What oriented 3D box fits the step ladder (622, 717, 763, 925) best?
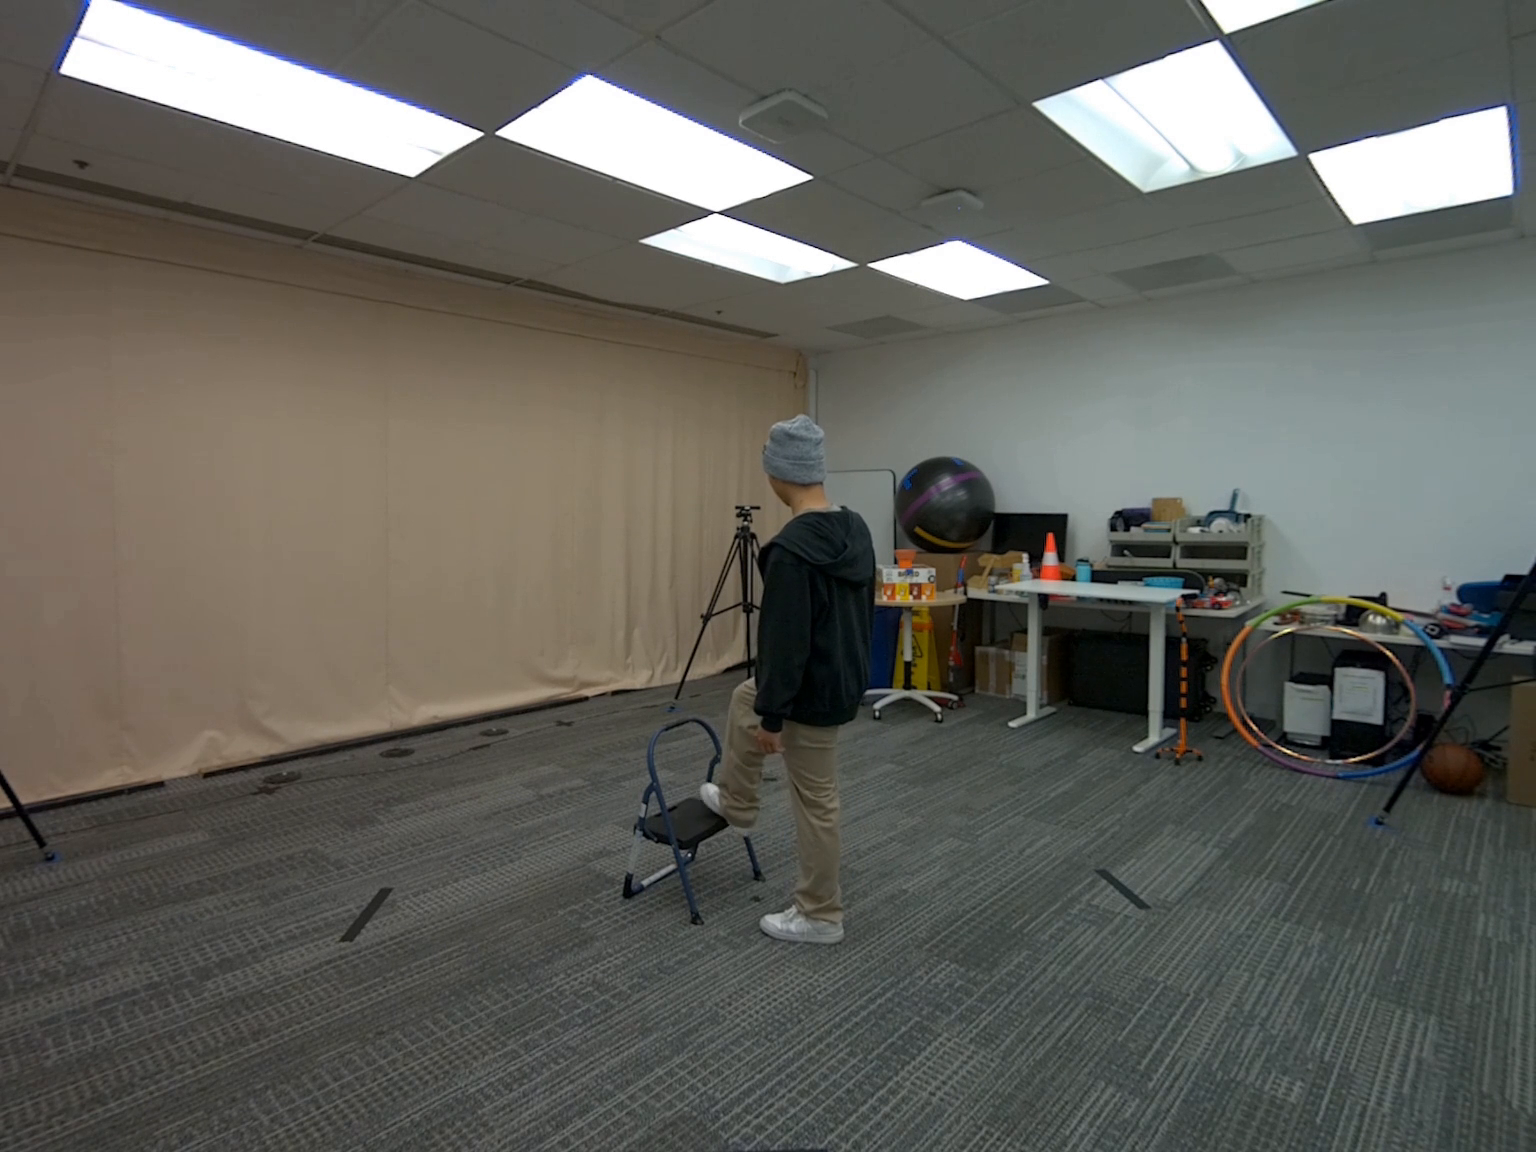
[{"bbox_3d":[-0.269,0.836,3.054,0.360,0.605,0.419,2,4,33],"label":"step ladder"}]
